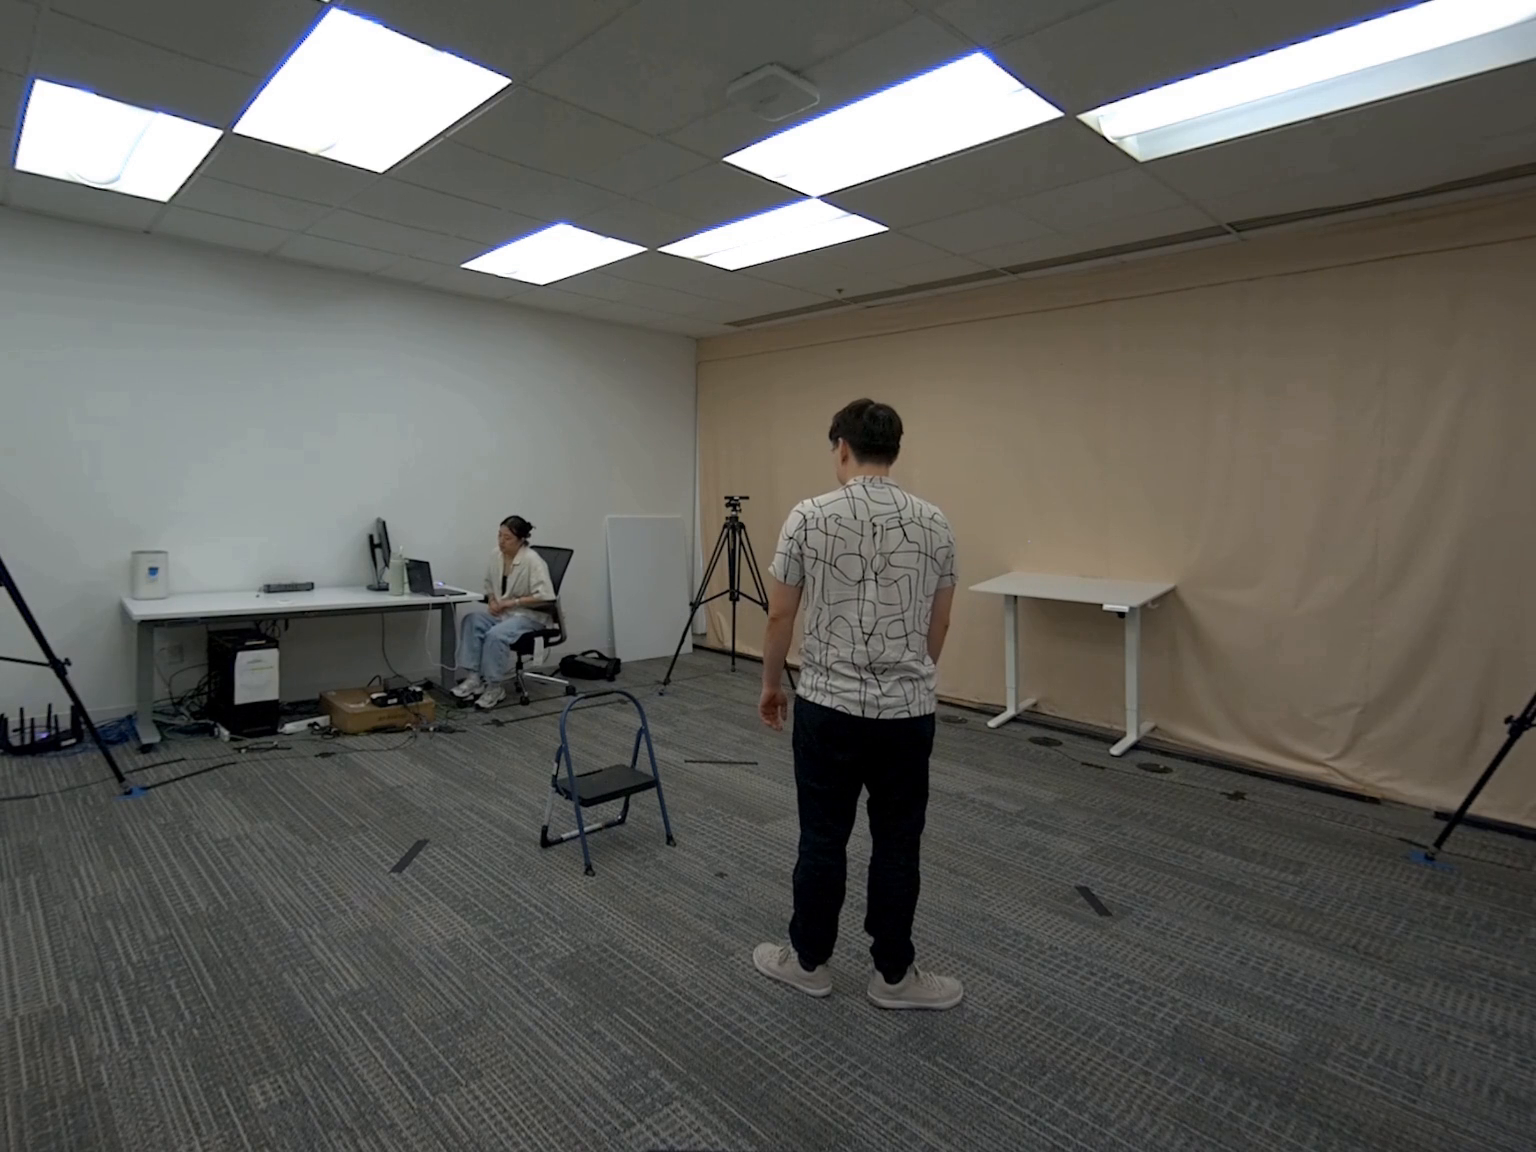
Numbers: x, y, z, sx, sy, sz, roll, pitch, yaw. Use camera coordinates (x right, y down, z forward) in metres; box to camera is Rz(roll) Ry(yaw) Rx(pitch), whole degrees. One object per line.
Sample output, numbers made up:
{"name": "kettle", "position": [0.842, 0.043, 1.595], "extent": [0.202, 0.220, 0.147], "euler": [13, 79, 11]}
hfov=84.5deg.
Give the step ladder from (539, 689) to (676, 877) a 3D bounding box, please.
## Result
{"name": "step ladder", "position": [-0.634, 0.770, 3.323], "extent": [0.358, 0.604, 0.421], "euler": [5, 5, 43]}
